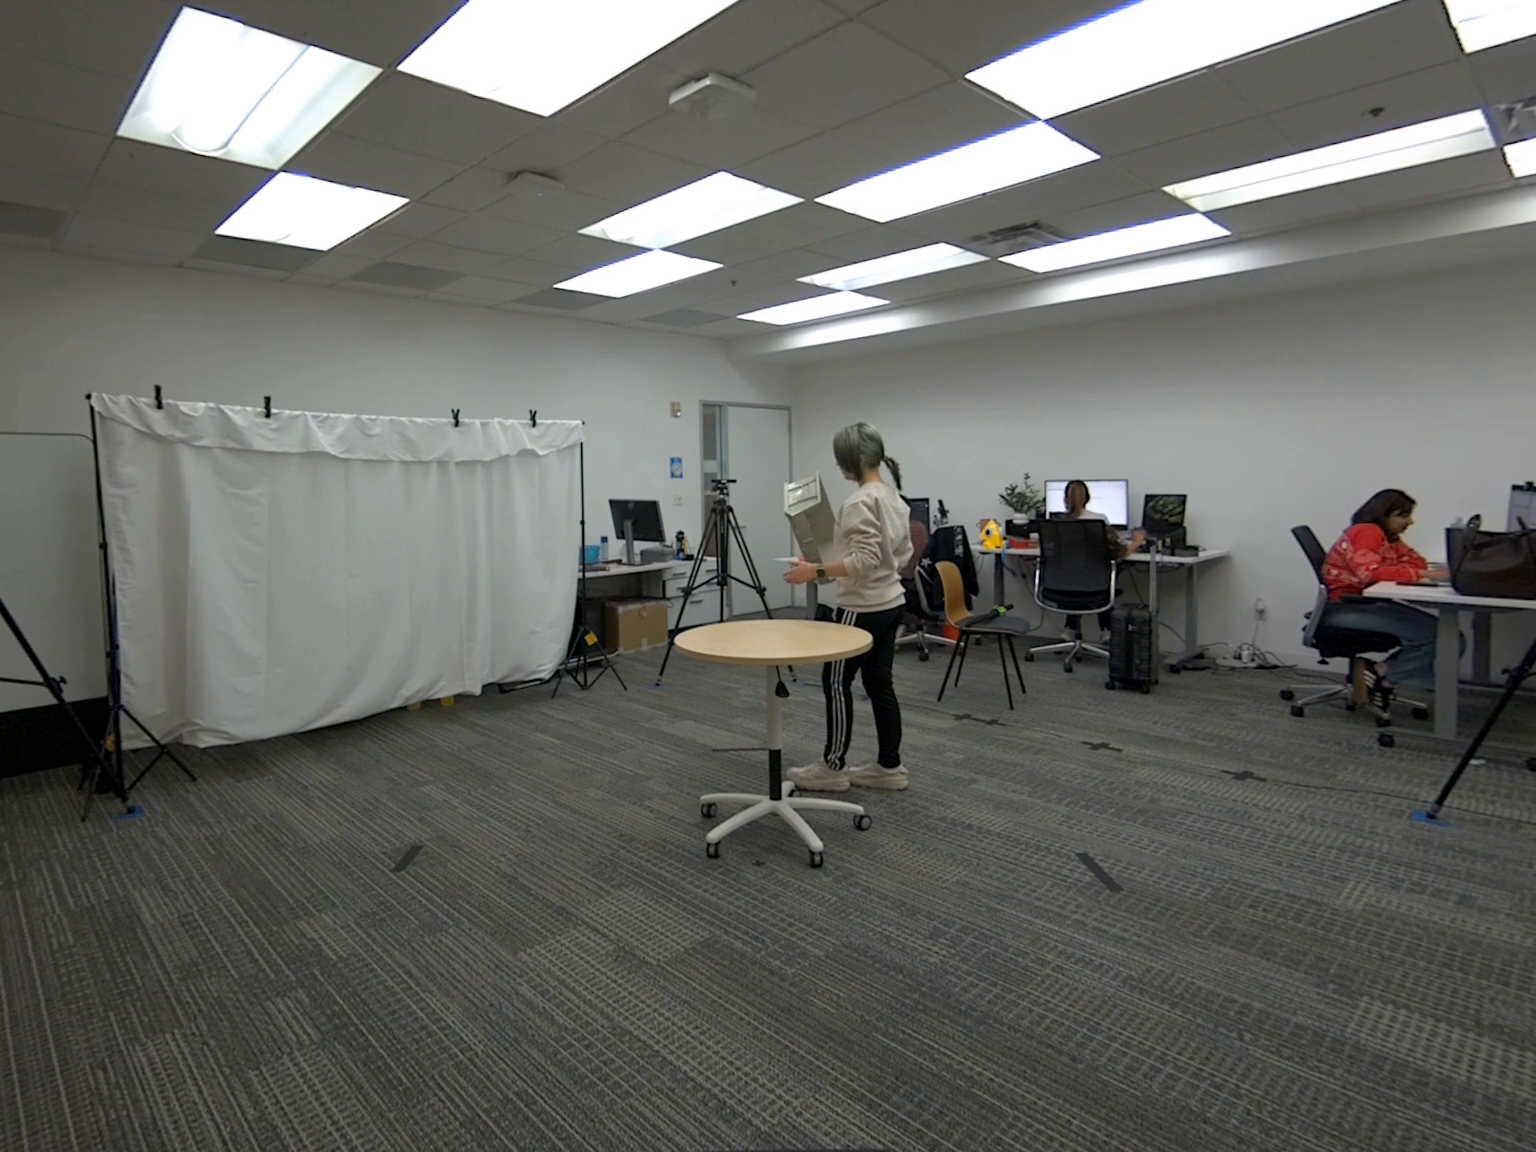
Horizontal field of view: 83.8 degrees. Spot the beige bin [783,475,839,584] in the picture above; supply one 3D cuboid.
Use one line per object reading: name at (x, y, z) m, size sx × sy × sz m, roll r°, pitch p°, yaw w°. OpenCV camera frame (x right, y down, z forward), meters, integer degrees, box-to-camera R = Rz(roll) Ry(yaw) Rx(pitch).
beige bin at (0.229, -0.230, 4.153) m, size 0.190 × 0.410 × 0.385 m, roll -18°, pitch 27°, yaw 12°
